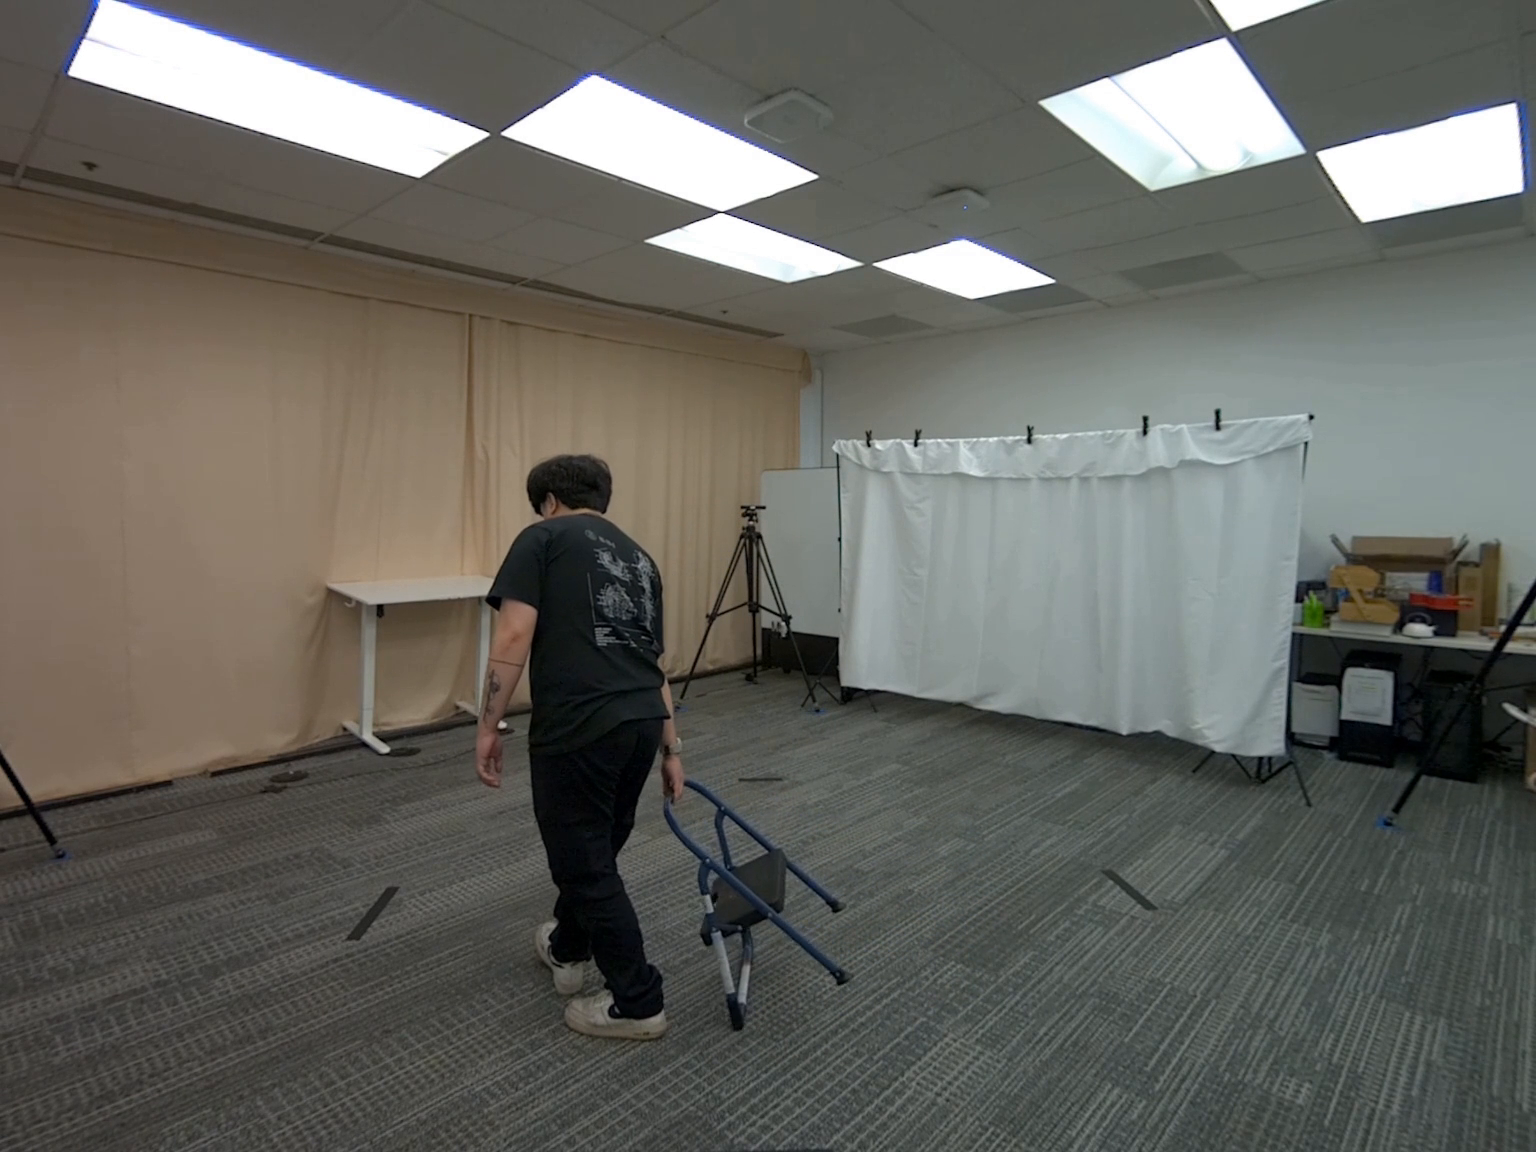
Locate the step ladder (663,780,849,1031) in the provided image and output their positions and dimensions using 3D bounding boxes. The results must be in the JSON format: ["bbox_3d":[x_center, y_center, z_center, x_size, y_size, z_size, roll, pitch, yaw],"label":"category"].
[{"bbox_3d":[-0.064,0.856,2.414,0.350,0.606,0.429,-28,1,5],"label":"step ladder"}]
